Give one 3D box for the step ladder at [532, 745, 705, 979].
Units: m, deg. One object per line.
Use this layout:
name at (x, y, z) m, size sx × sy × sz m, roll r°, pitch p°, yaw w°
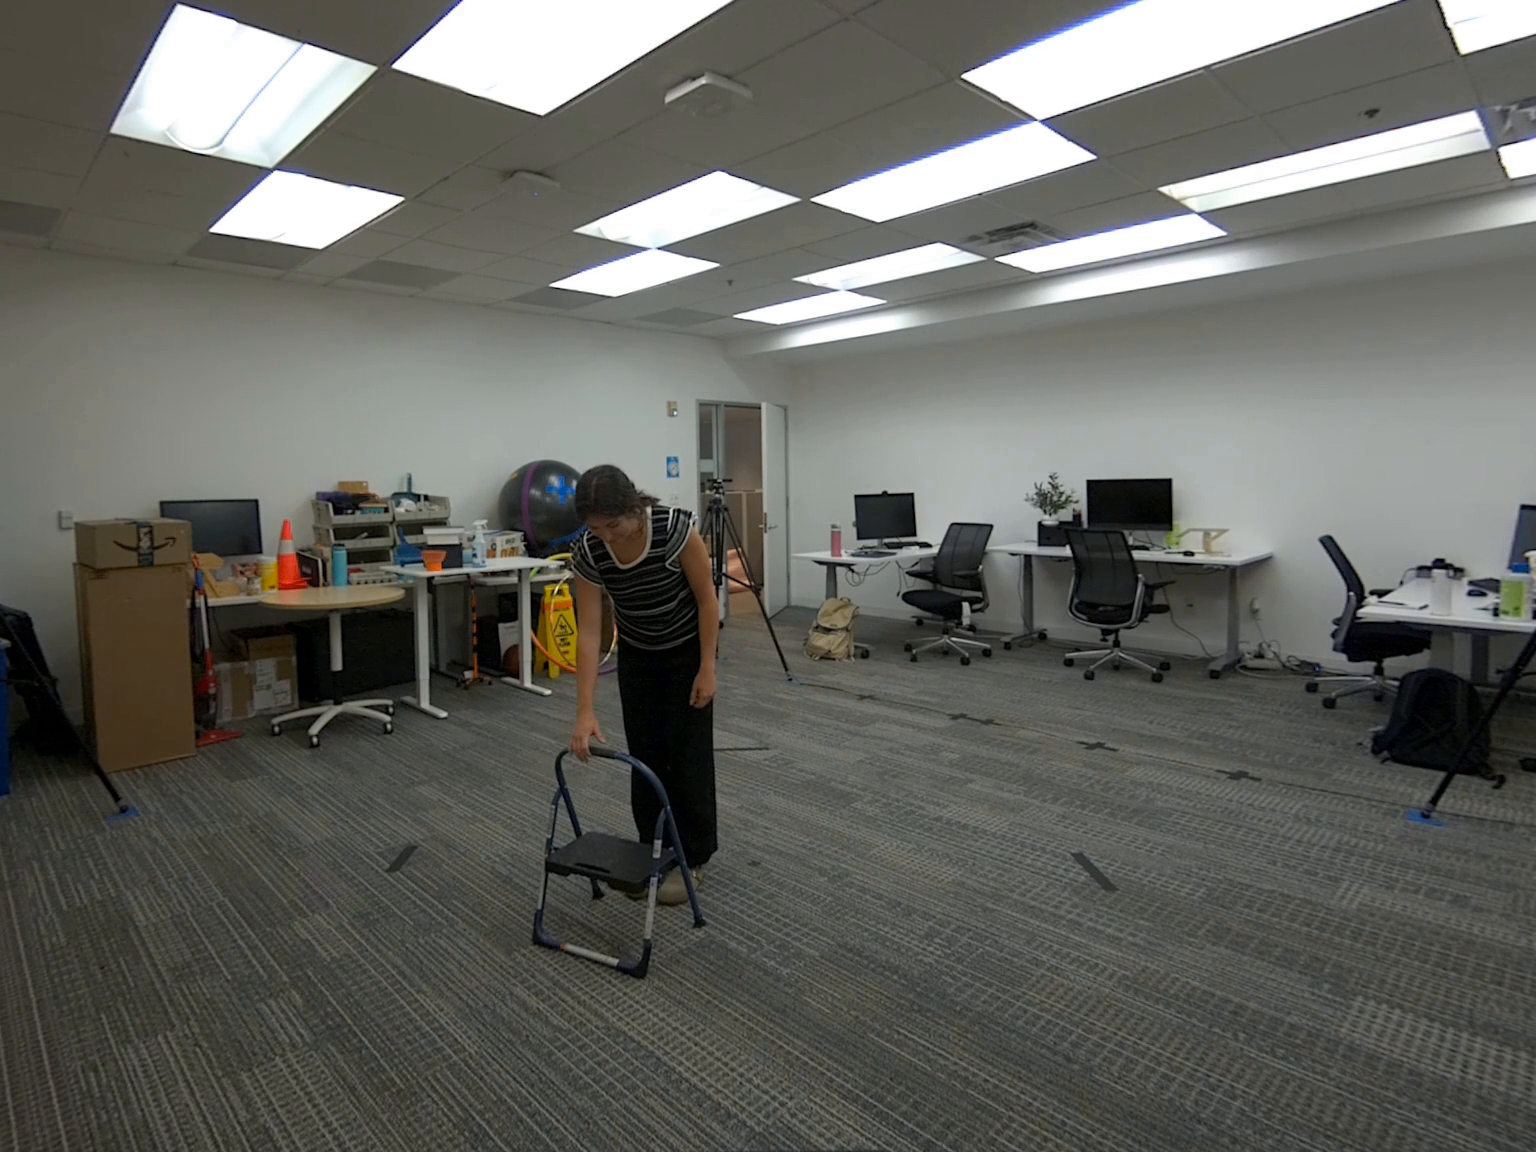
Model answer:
step ladder at (-0.467, 0.810, 2.626) m, size 0.441 × 0.604 × 0.342 m, roll 1°, pitch 5°, yaw 27°
